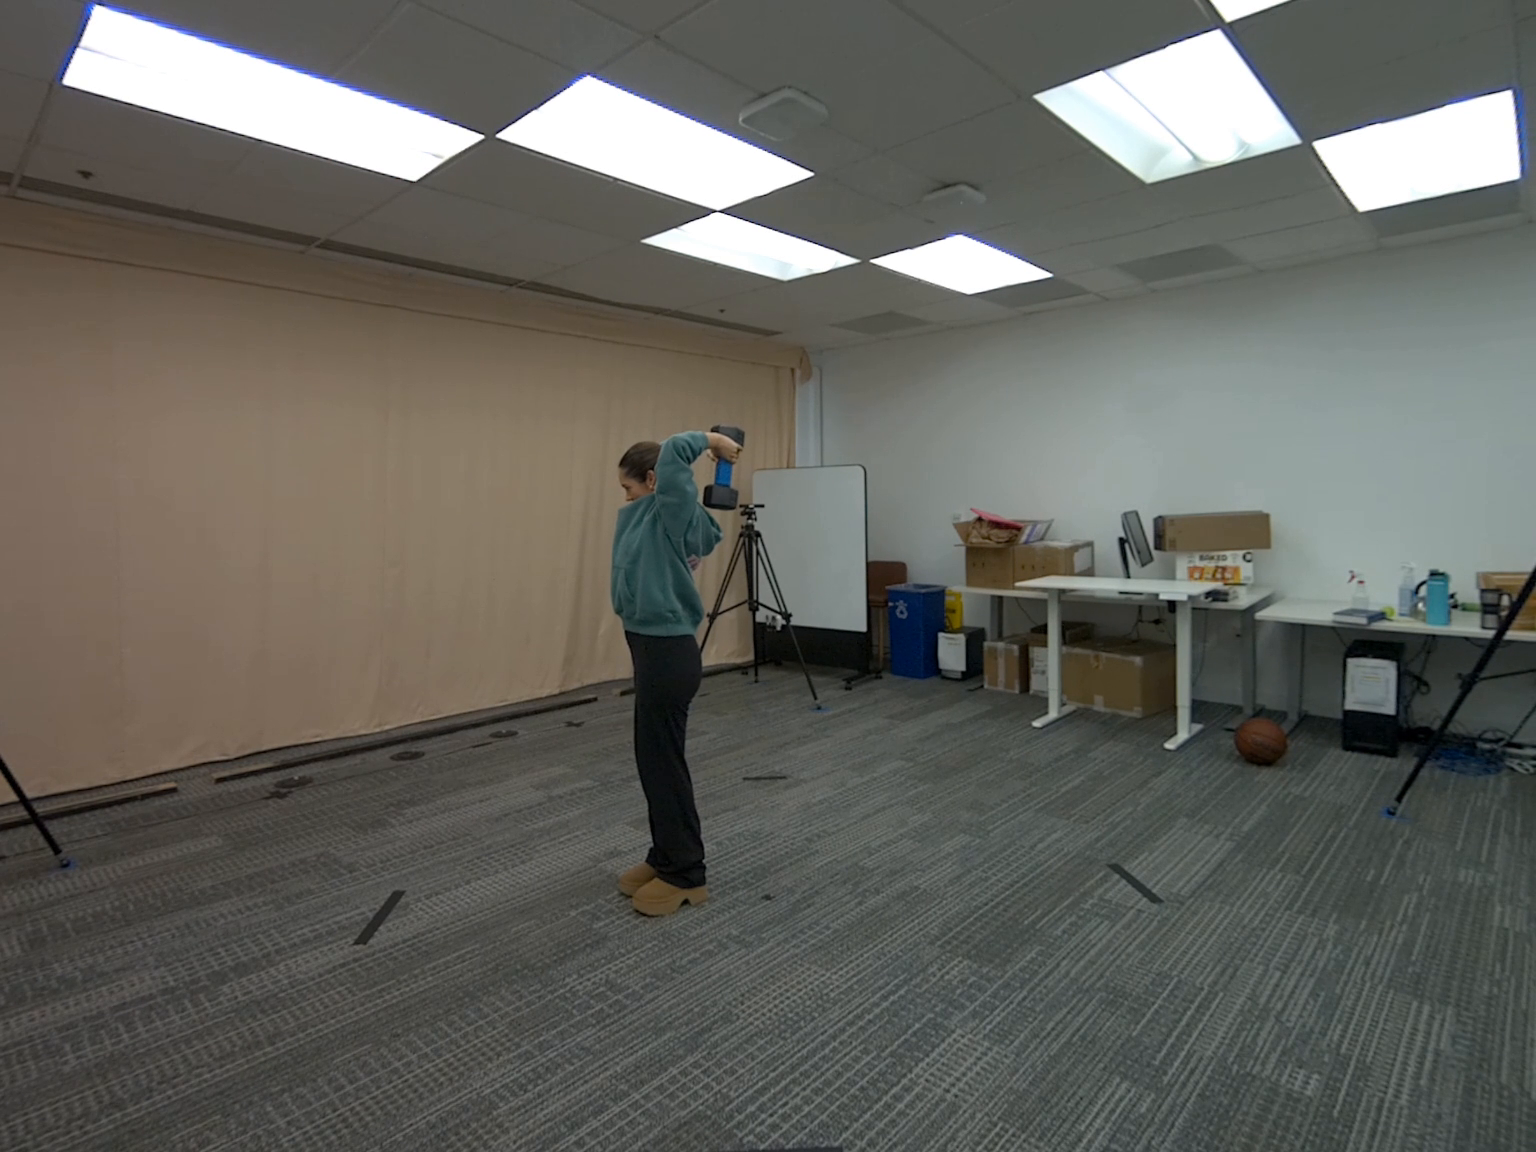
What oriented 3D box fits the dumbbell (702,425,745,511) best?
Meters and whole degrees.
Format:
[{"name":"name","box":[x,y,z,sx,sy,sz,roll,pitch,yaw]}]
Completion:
[{"name":"dumbbell","box":[-0.158,-0.384,2.966,0.123,0.294,0.108,7,-4,2]}]
